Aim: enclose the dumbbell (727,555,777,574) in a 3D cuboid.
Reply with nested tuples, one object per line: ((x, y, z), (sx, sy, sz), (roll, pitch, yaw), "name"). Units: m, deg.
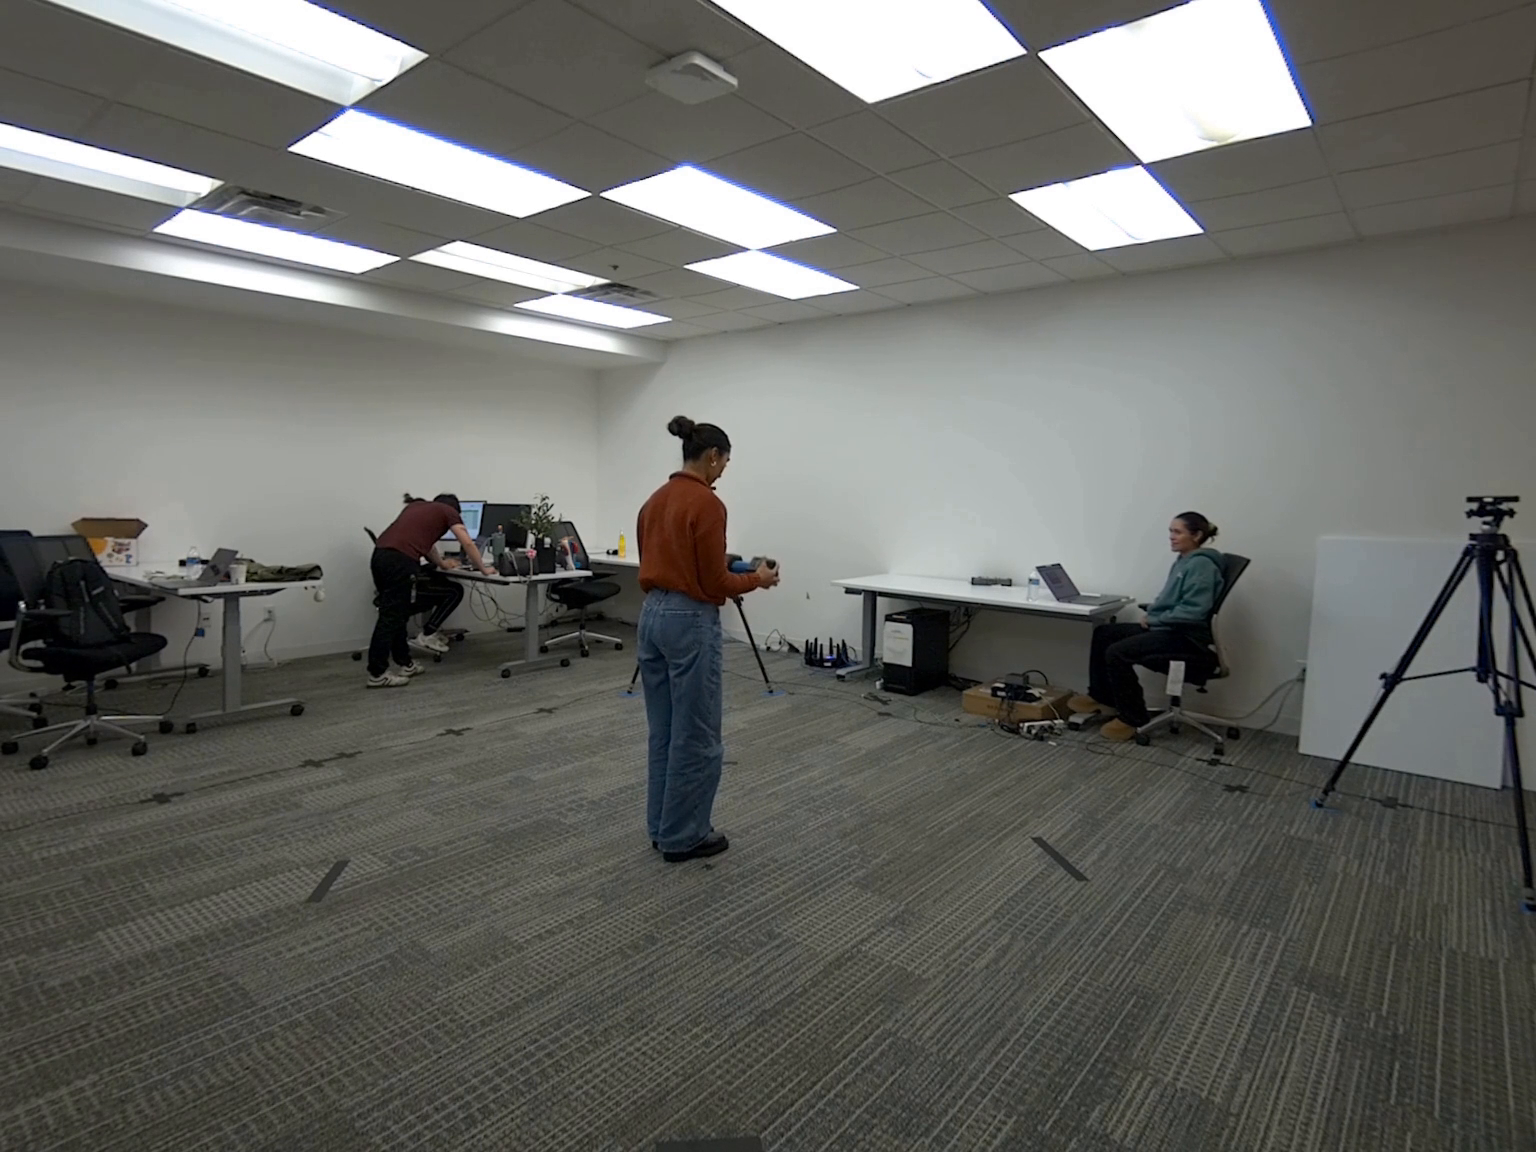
((-0.111, -0.027, 3.403), (0.118, 0.109, 0.304), (9, -2, -41), "dumbbell")
